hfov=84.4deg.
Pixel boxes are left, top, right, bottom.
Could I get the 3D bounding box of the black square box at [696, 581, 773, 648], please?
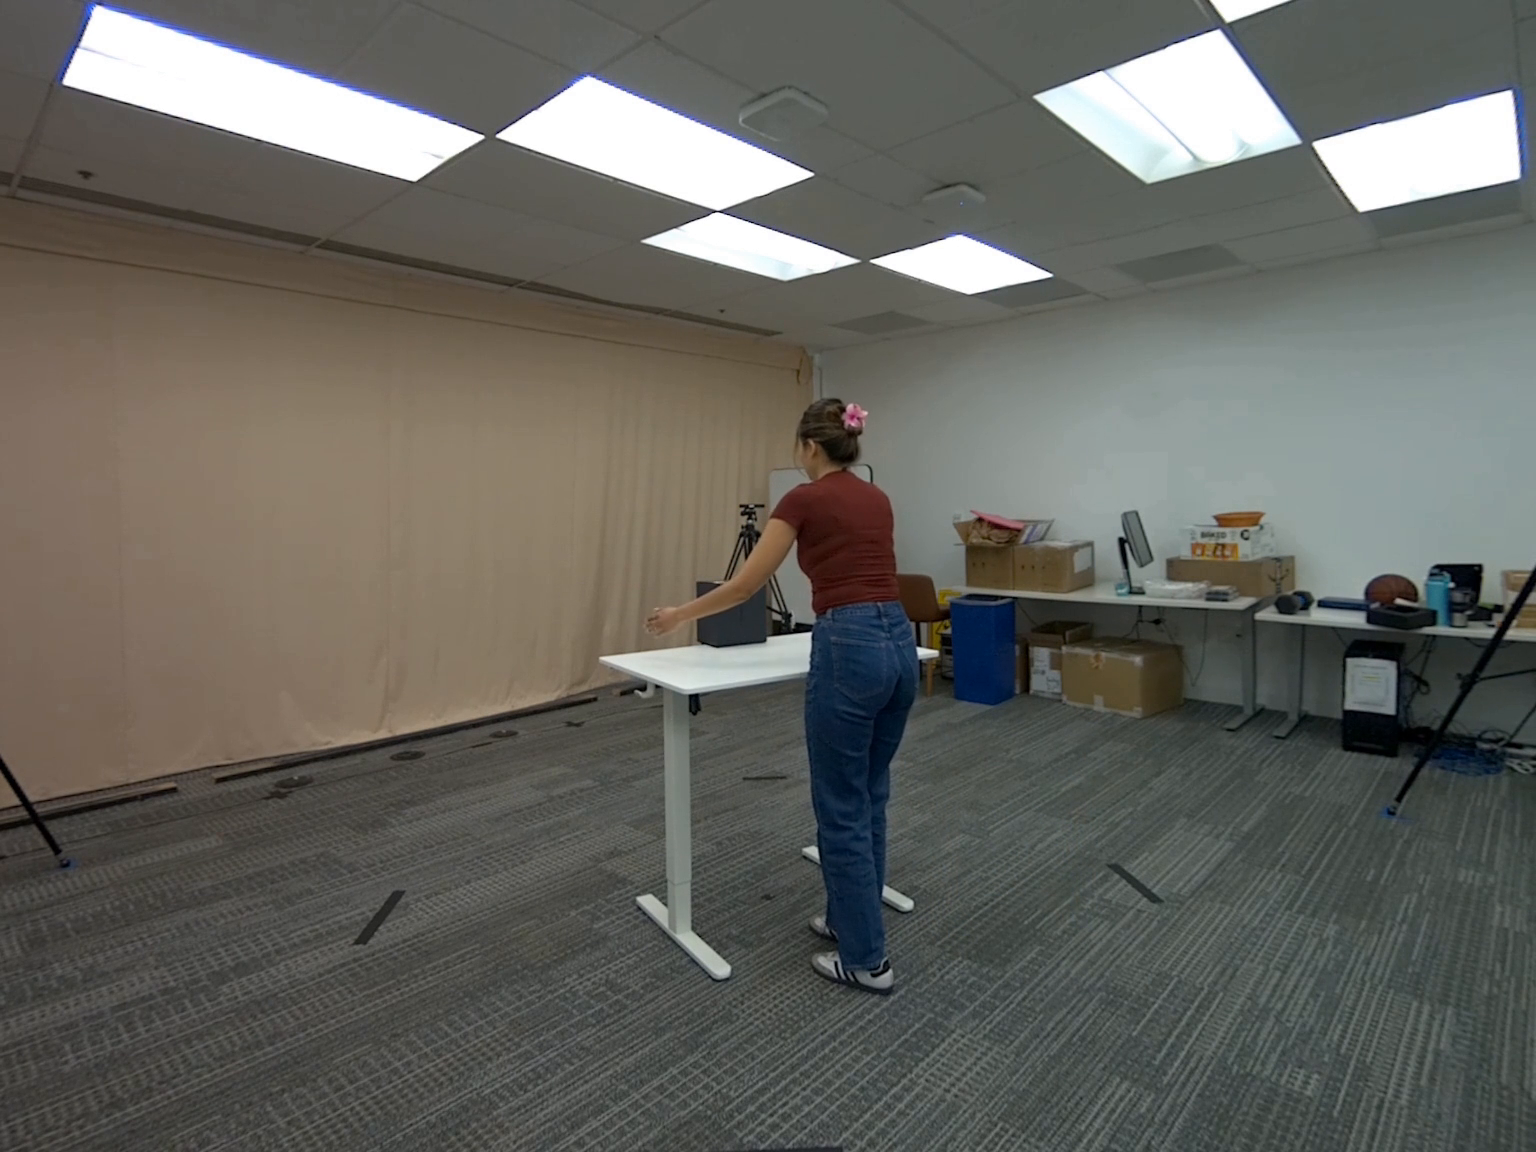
[{"bbox_3d":[-0.129,0.133,3.114,0.211,0.227,0.160,-3,4,-31],"label":"black square box"}]
